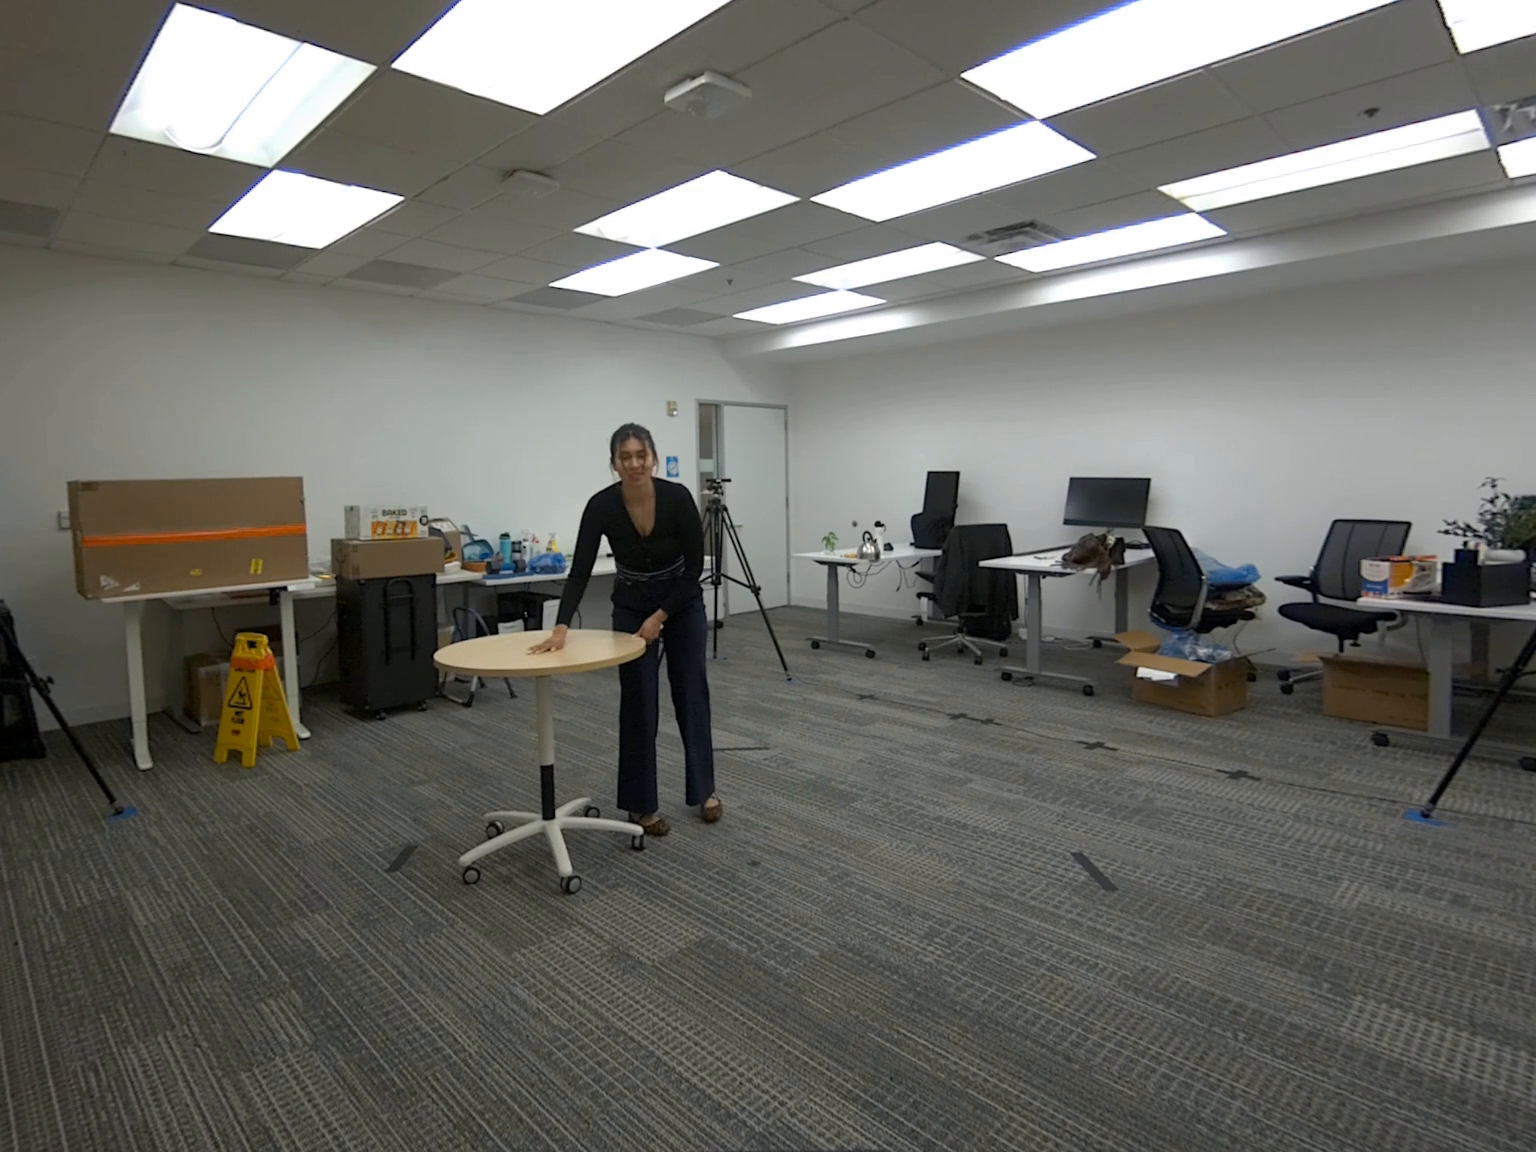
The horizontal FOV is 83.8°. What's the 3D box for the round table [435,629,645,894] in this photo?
[{"bbox_3d":[-0.819,0.657,3.182,0.763,0.791,0.768,-2,5,-2],"label":"round table"}]
